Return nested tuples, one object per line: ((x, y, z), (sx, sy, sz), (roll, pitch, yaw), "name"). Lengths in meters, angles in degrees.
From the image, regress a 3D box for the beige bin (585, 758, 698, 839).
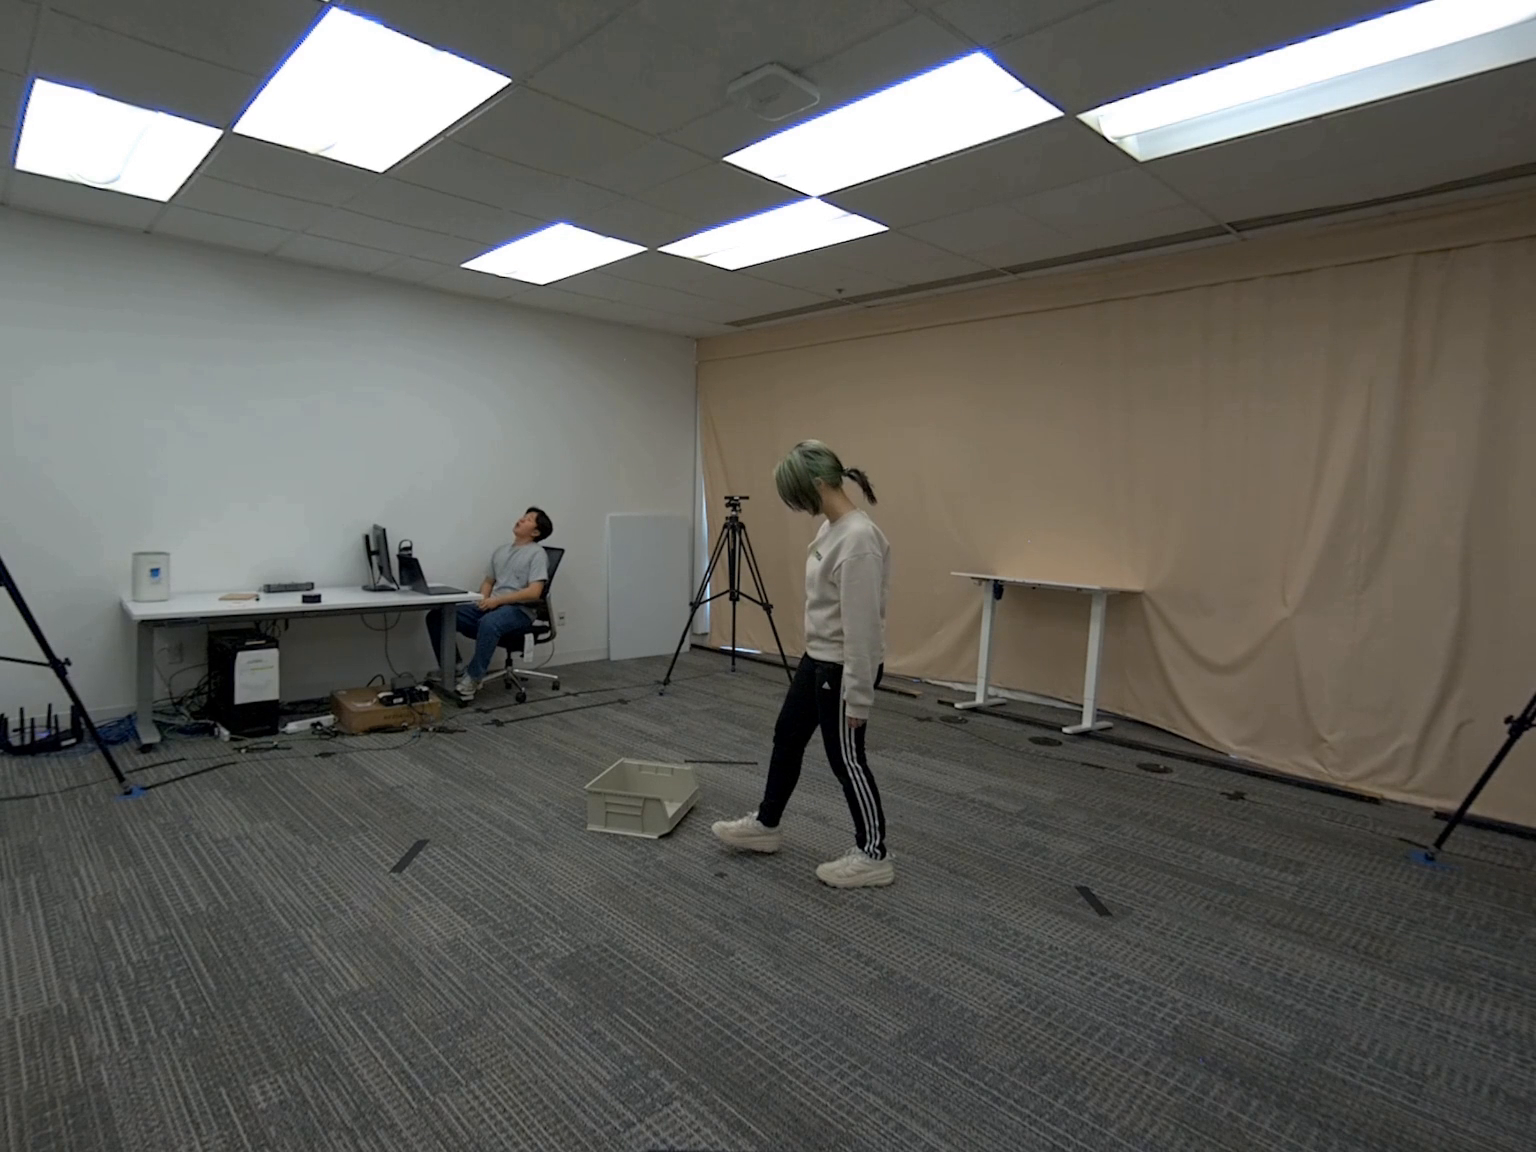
((-0.548, 0.959, 3.647), (0.381, 0.188, 0.419), (2, 5, 13), "beige bin")
